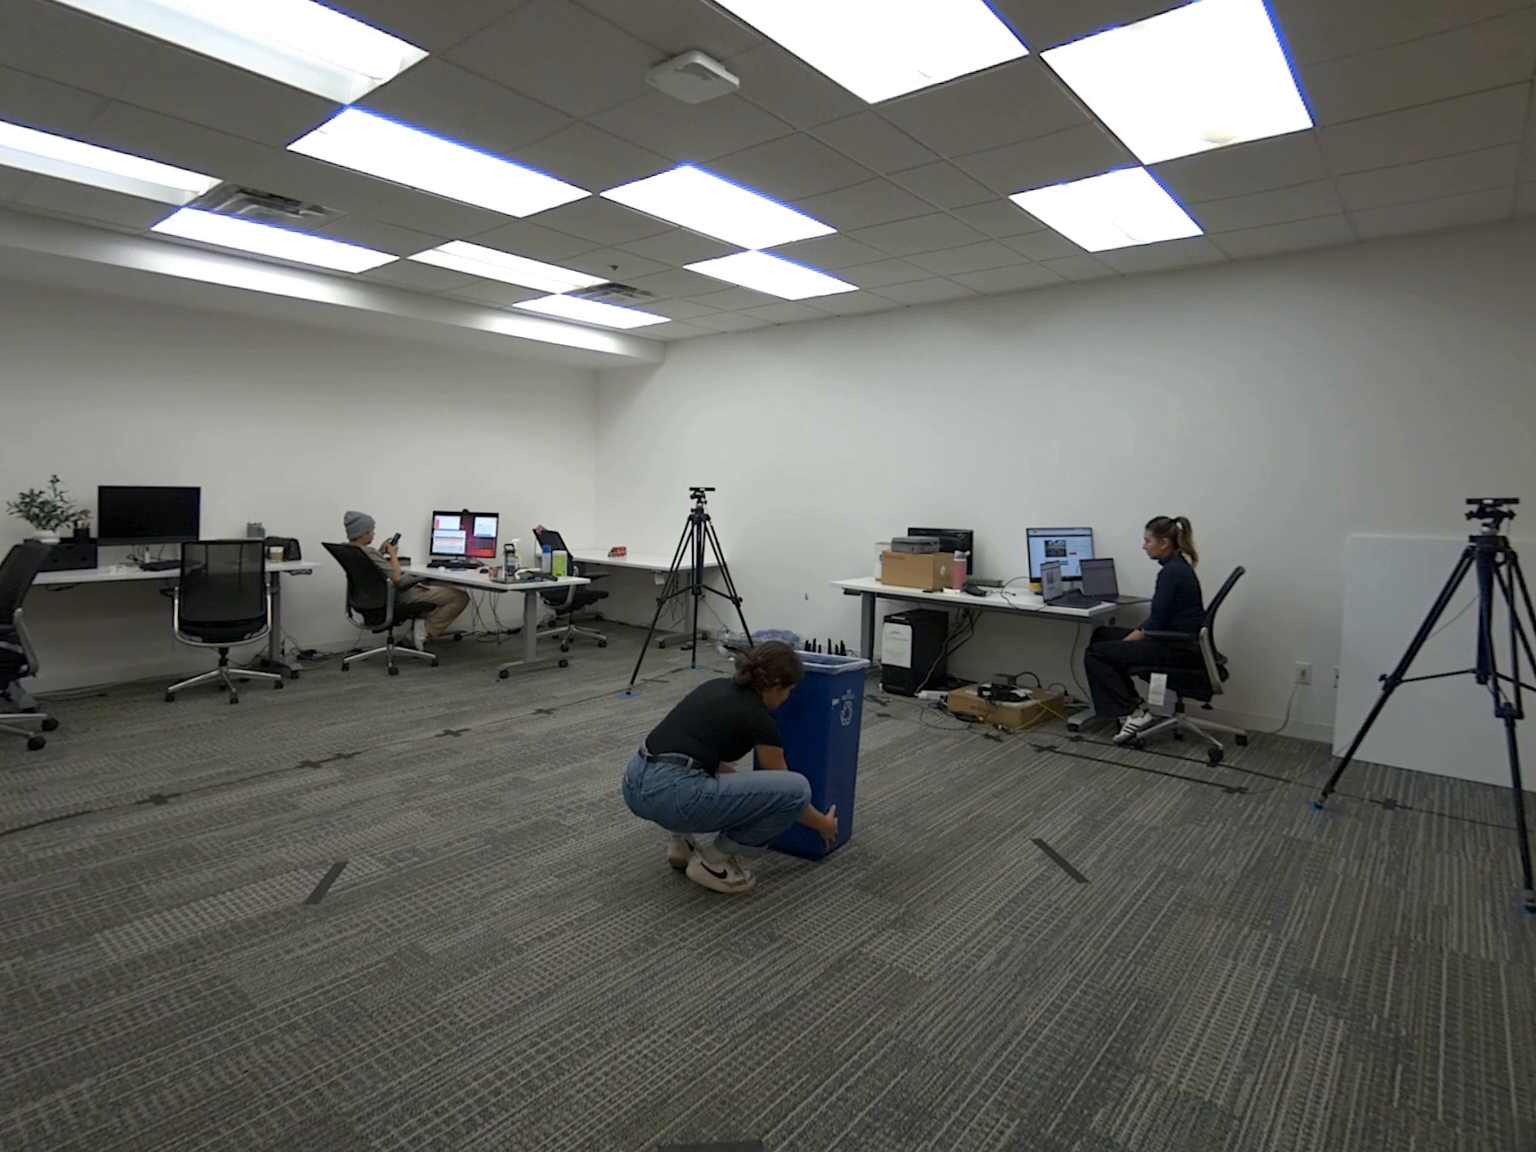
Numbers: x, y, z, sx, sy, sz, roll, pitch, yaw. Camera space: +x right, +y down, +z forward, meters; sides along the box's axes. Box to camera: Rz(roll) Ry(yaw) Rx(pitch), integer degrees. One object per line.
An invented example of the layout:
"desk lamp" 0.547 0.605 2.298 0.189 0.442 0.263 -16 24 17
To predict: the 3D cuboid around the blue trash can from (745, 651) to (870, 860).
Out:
"blue trash can" 0.150 0.674 3.394 0.389 0.713 0.363 3 0 29
